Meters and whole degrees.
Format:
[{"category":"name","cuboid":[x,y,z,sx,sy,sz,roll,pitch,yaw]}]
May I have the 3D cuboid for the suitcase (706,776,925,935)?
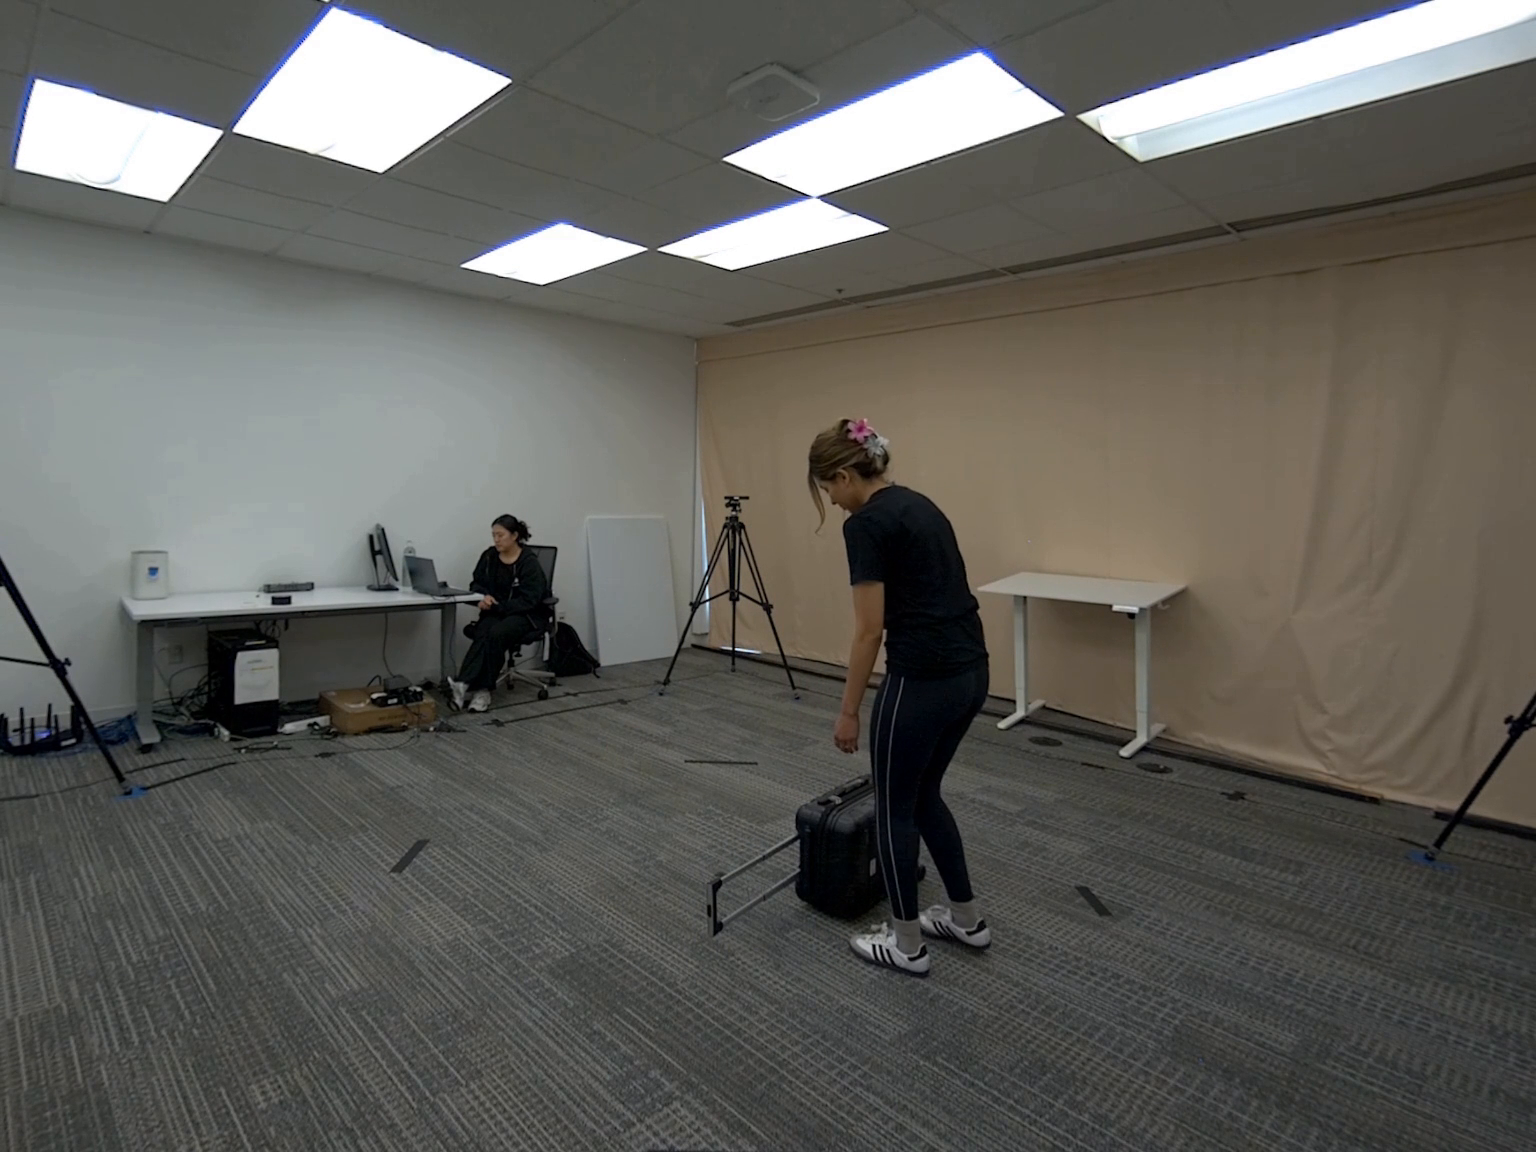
[{"category":"suitcase","cuboid":[0.201,0.950,2.810,0.263,0.383,0.958,3,5,36]}]
